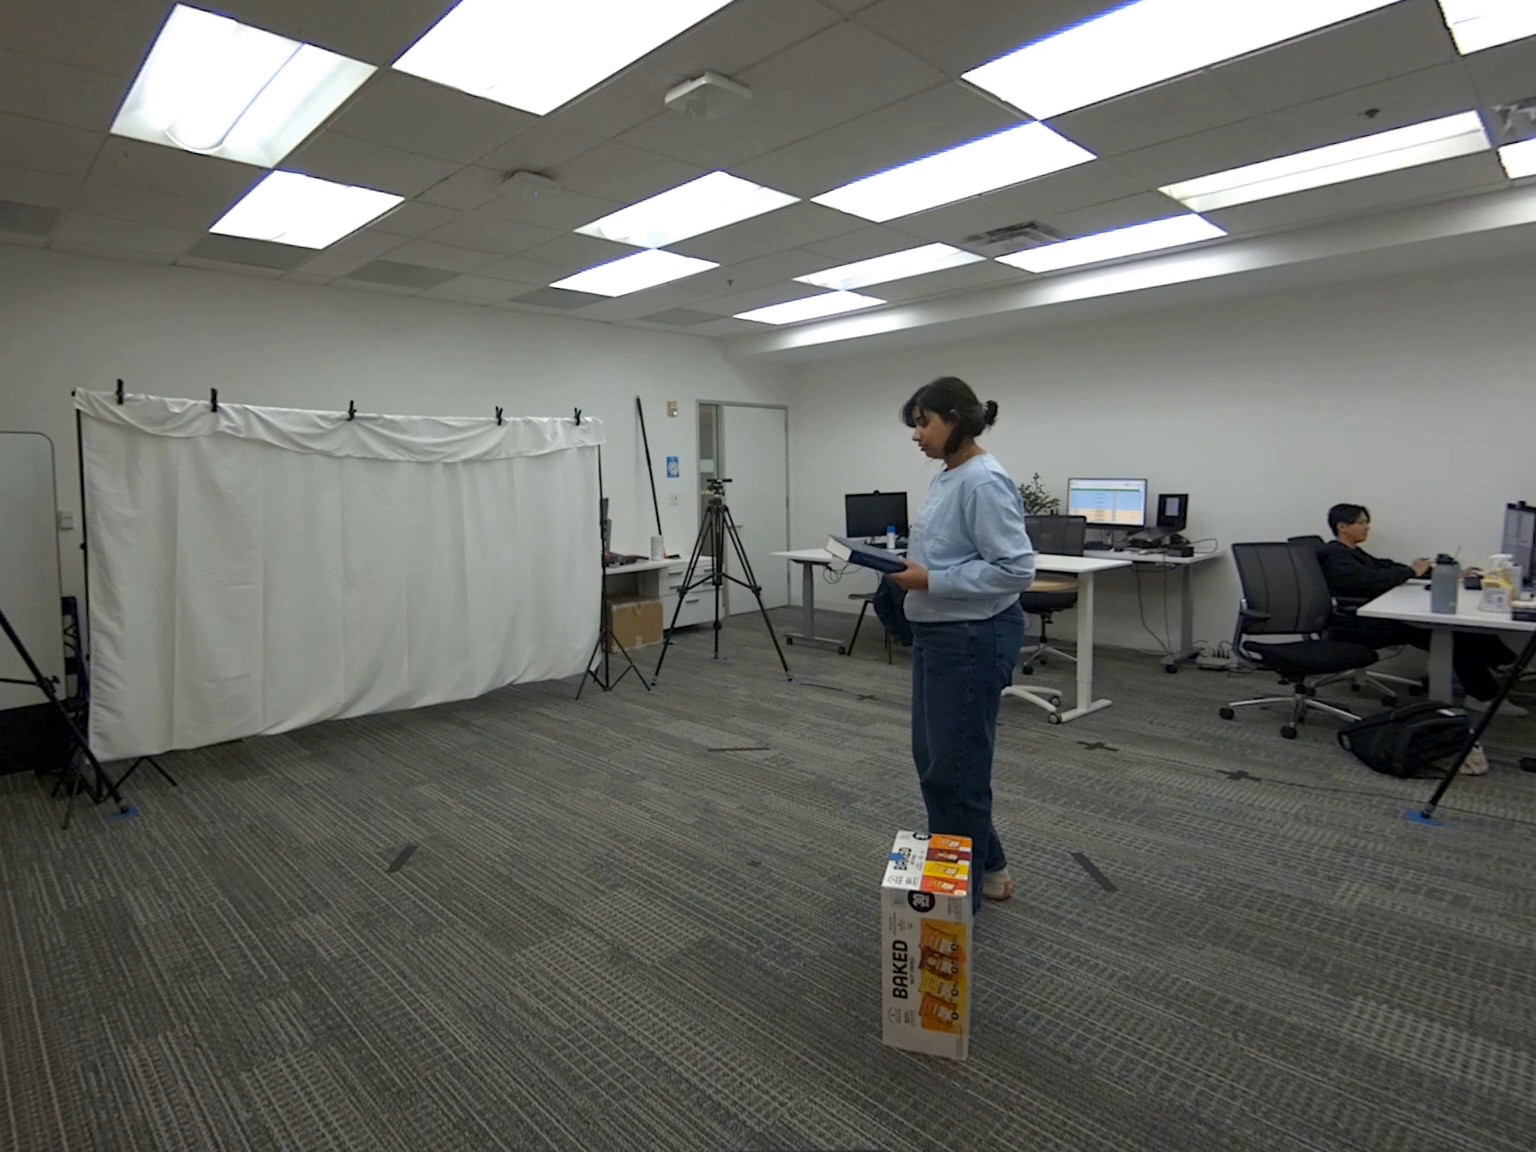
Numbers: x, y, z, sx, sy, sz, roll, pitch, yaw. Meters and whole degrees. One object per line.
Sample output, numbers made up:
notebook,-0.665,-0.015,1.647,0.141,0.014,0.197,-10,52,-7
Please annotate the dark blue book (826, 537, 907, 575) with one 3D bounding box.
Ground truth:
dark blue book,0.330,-0.058,2.629,0.239,0.045,0.168,12,11,-25
